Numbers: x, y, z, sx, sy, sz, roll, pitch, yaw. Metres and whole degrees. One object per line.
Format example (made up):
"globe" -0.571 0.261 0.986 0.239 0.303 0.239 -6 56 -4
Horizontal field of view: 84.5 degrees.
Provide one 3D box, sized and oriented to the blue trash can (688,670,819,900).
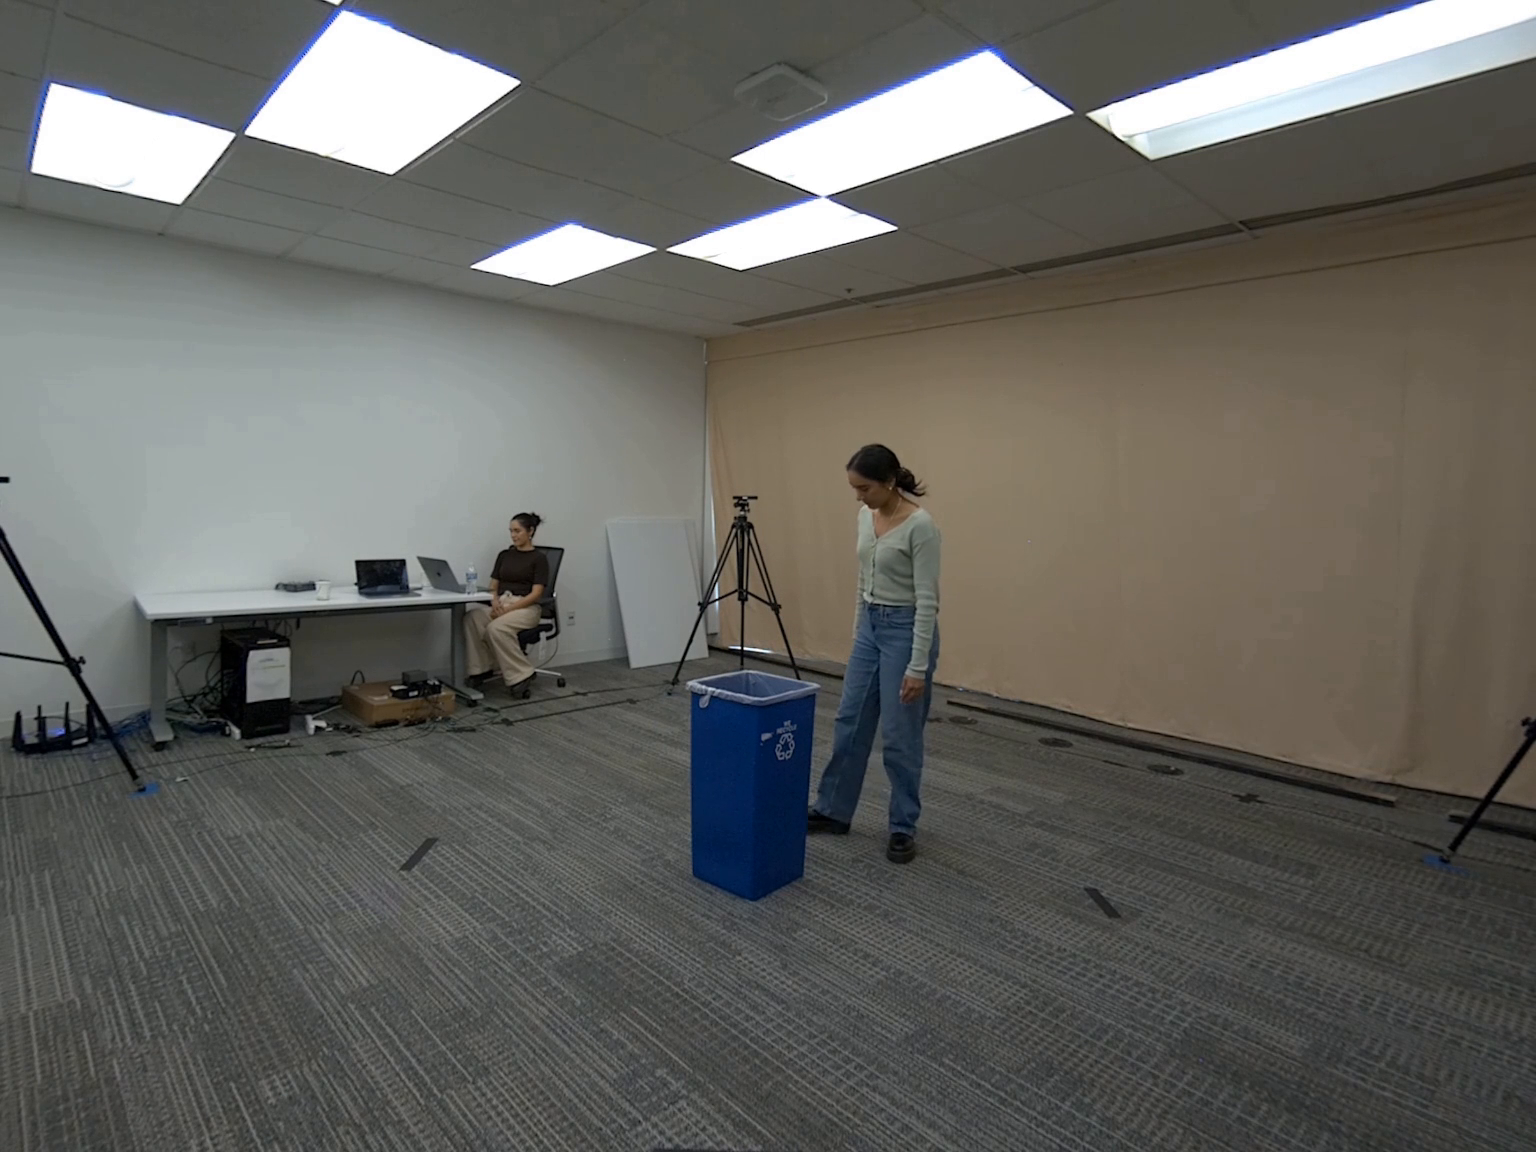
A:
"blue trash can" -0.069 0.746 3.091 0.387 0.711 0.366 5 5 40
